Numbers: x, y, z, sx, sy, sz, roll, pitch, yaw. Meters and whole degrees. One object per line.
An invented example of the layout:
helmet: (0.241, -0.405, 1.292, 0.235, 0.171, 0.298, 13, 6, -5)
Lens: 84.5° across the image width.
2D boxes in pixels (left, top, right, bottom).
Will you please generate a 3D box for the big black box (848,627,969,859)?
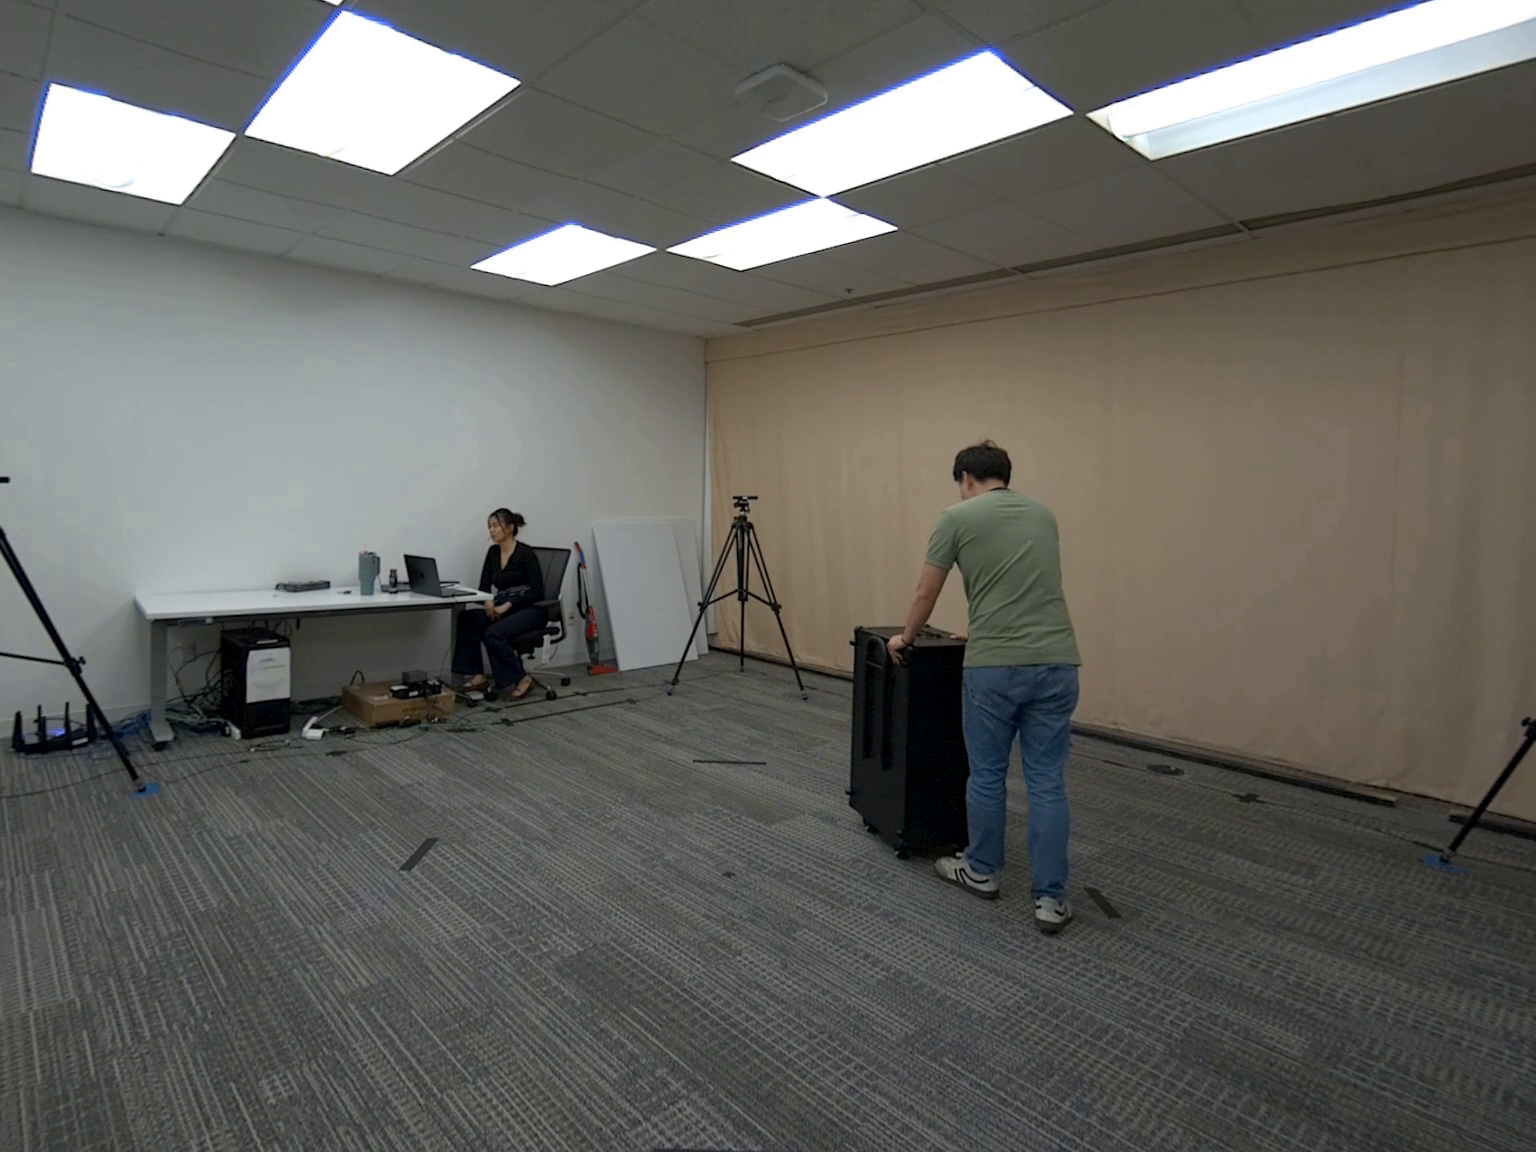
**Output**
big black box: (0.590, 0.666, 3.451, 0.391, 0.859, 0.530, -1, 4, -19)
